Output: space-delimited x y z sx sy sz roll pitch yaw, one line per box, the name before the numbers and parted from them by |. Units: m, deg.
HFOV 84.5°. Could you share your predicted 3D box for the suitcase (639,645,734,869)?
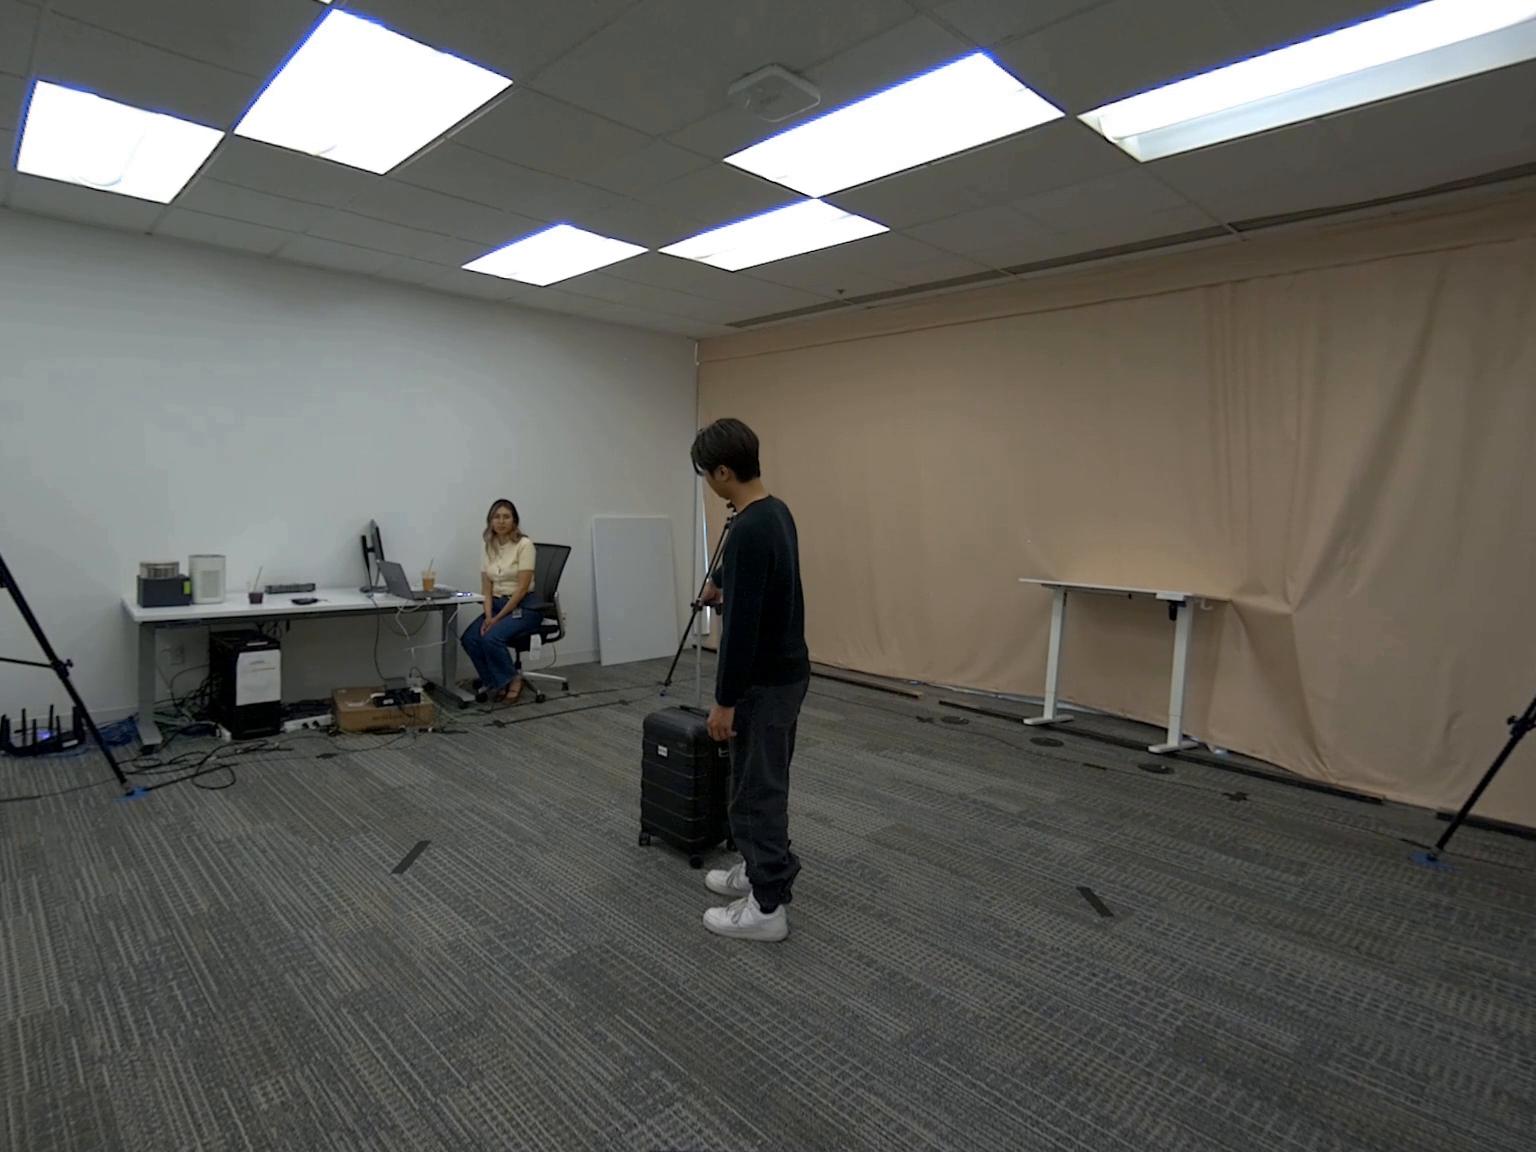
suitcase | -0.324 0.608 3.325 0.251 0.976 0.394 -3 5 -44
